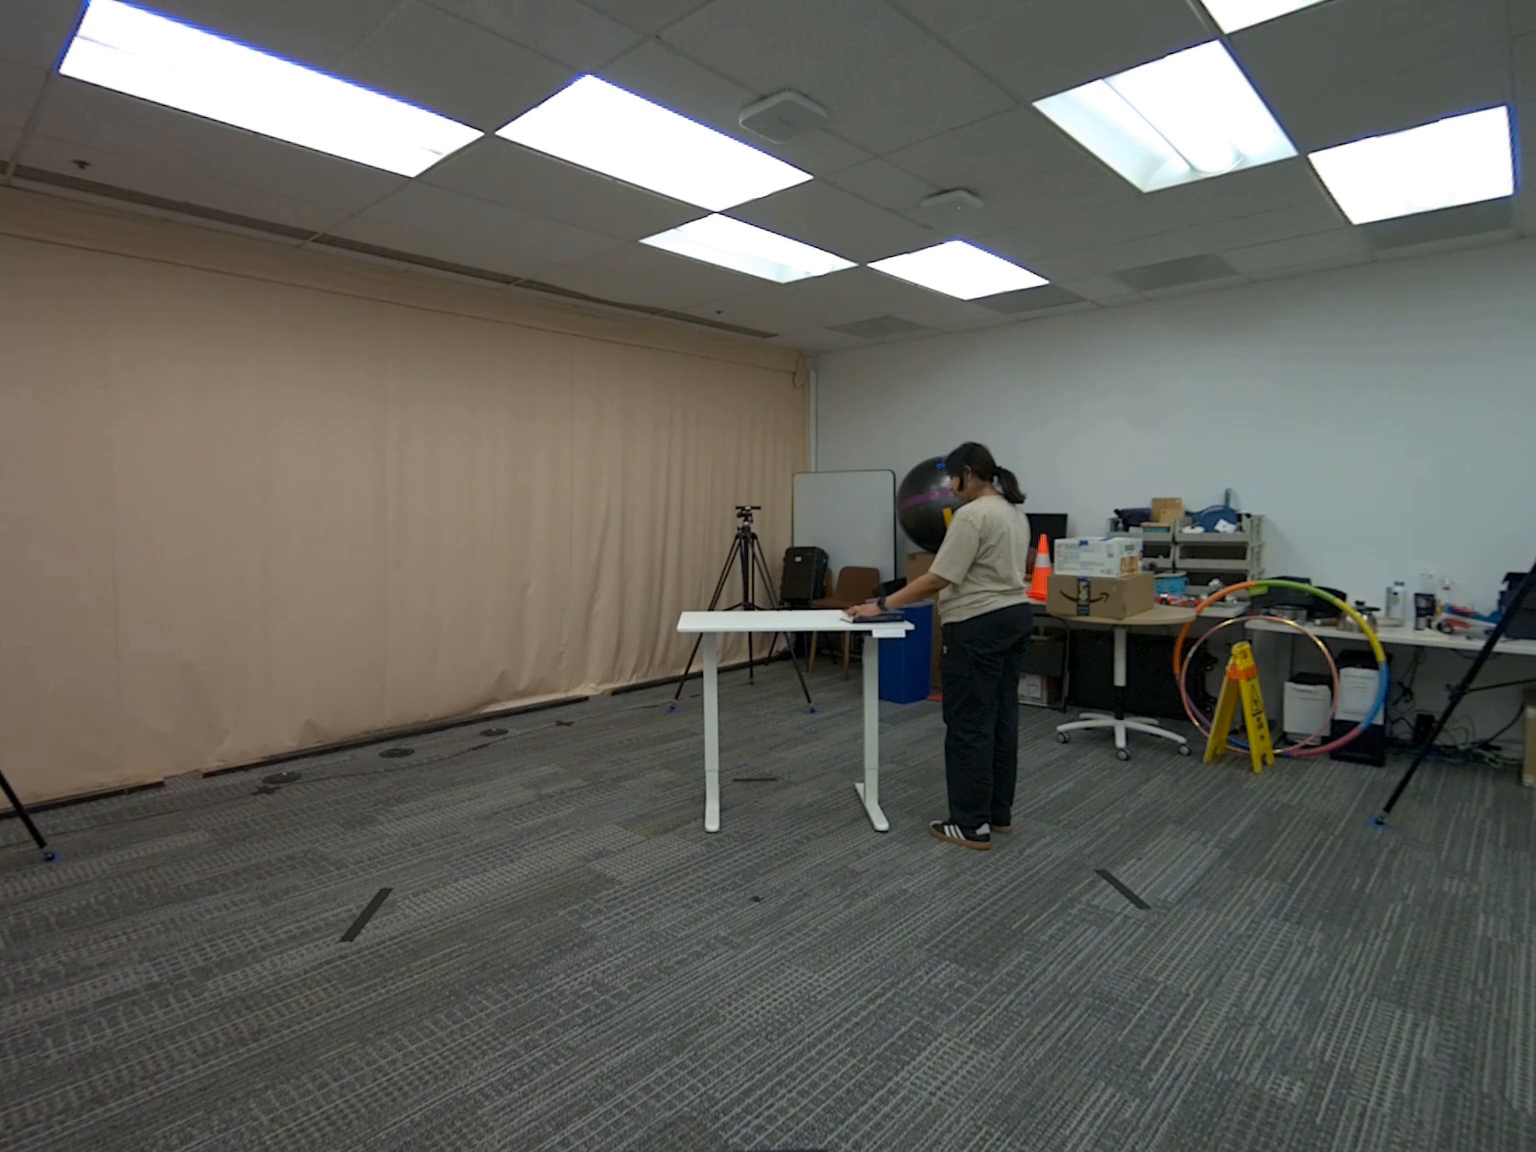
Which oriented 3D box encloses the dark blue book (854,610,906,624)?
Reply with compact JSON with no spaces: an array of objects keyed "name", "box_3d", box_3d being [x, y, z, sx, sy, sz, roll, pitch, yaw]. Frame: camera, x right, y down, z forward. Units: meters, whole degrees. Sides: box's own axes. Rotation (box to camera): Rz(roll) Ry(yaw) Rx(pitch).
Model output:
[{"name":"dark blue book","box_3d":[0.479,0.184,3.718,0.243,0.045,0.165,-1,4,-8]}]
